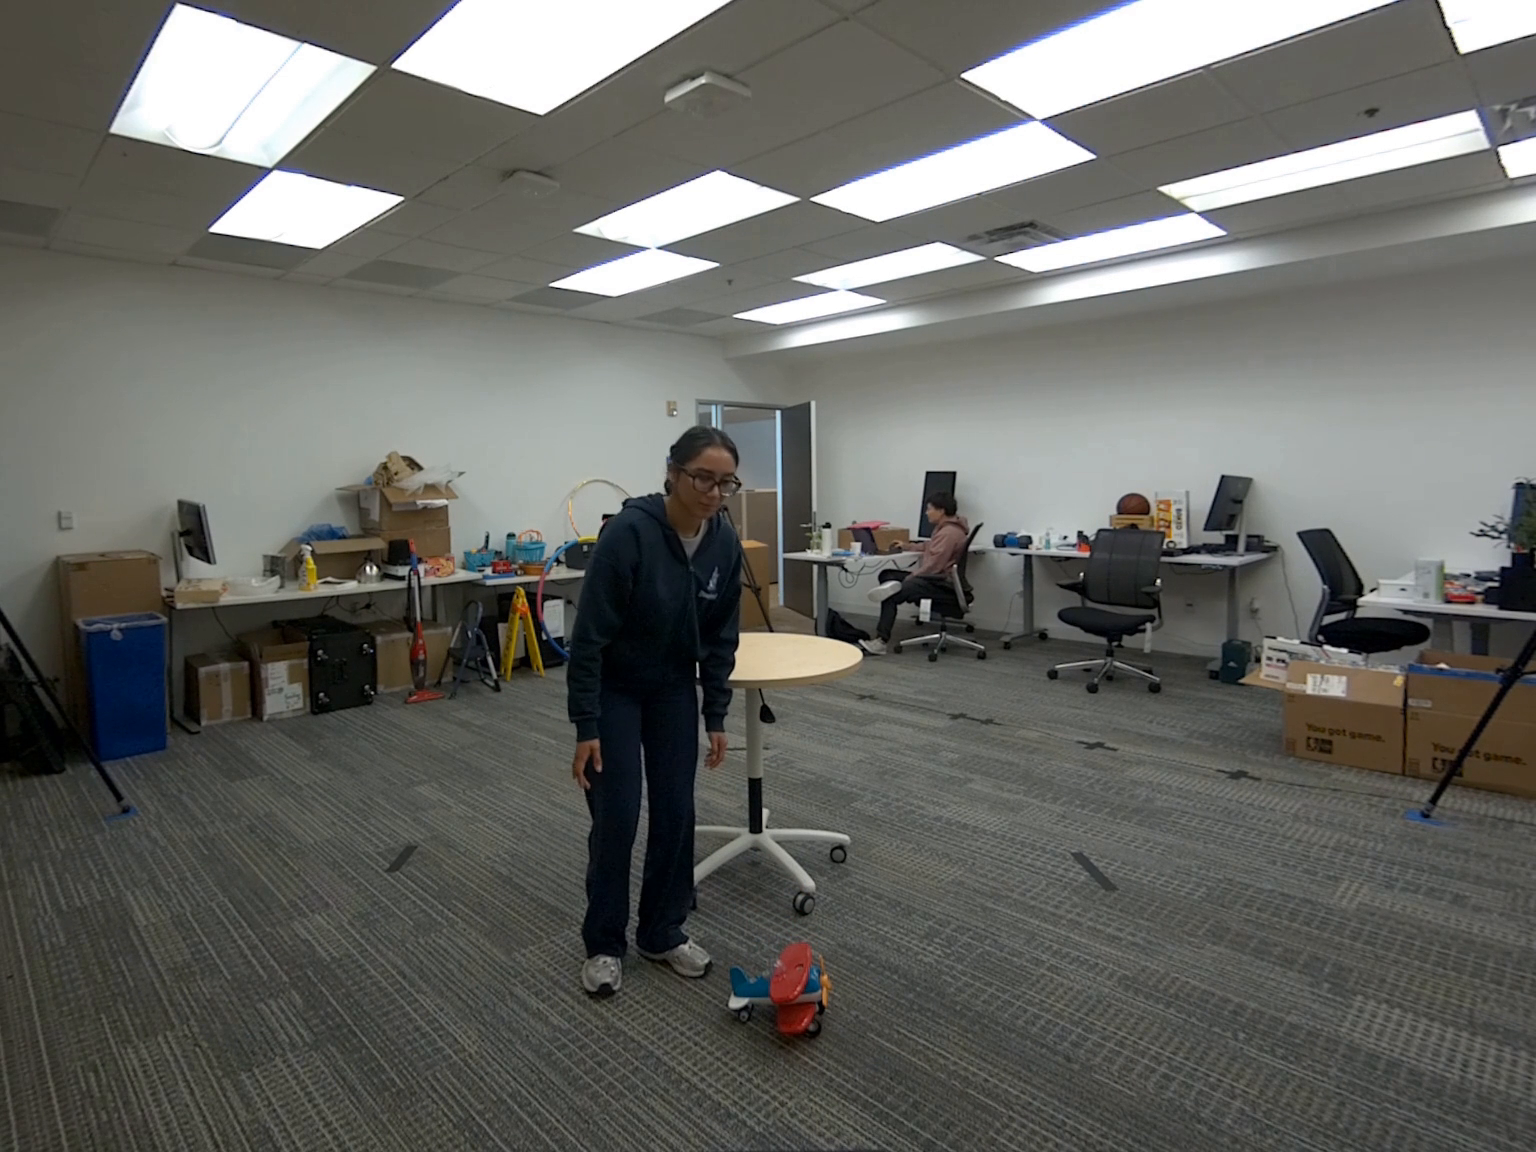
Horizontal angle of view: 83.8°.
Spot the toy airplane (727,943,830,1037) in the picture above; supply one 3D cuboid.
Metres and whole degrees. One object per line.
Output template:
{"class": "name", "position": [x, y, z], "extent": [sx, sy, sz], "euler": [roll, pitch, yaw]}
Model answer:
{"class": "toy airplane", "position": [0.032, 1.073, 2.180], "extent": [0.255, 0.156, 0.256], "euler": [-2, 6, -16]}
